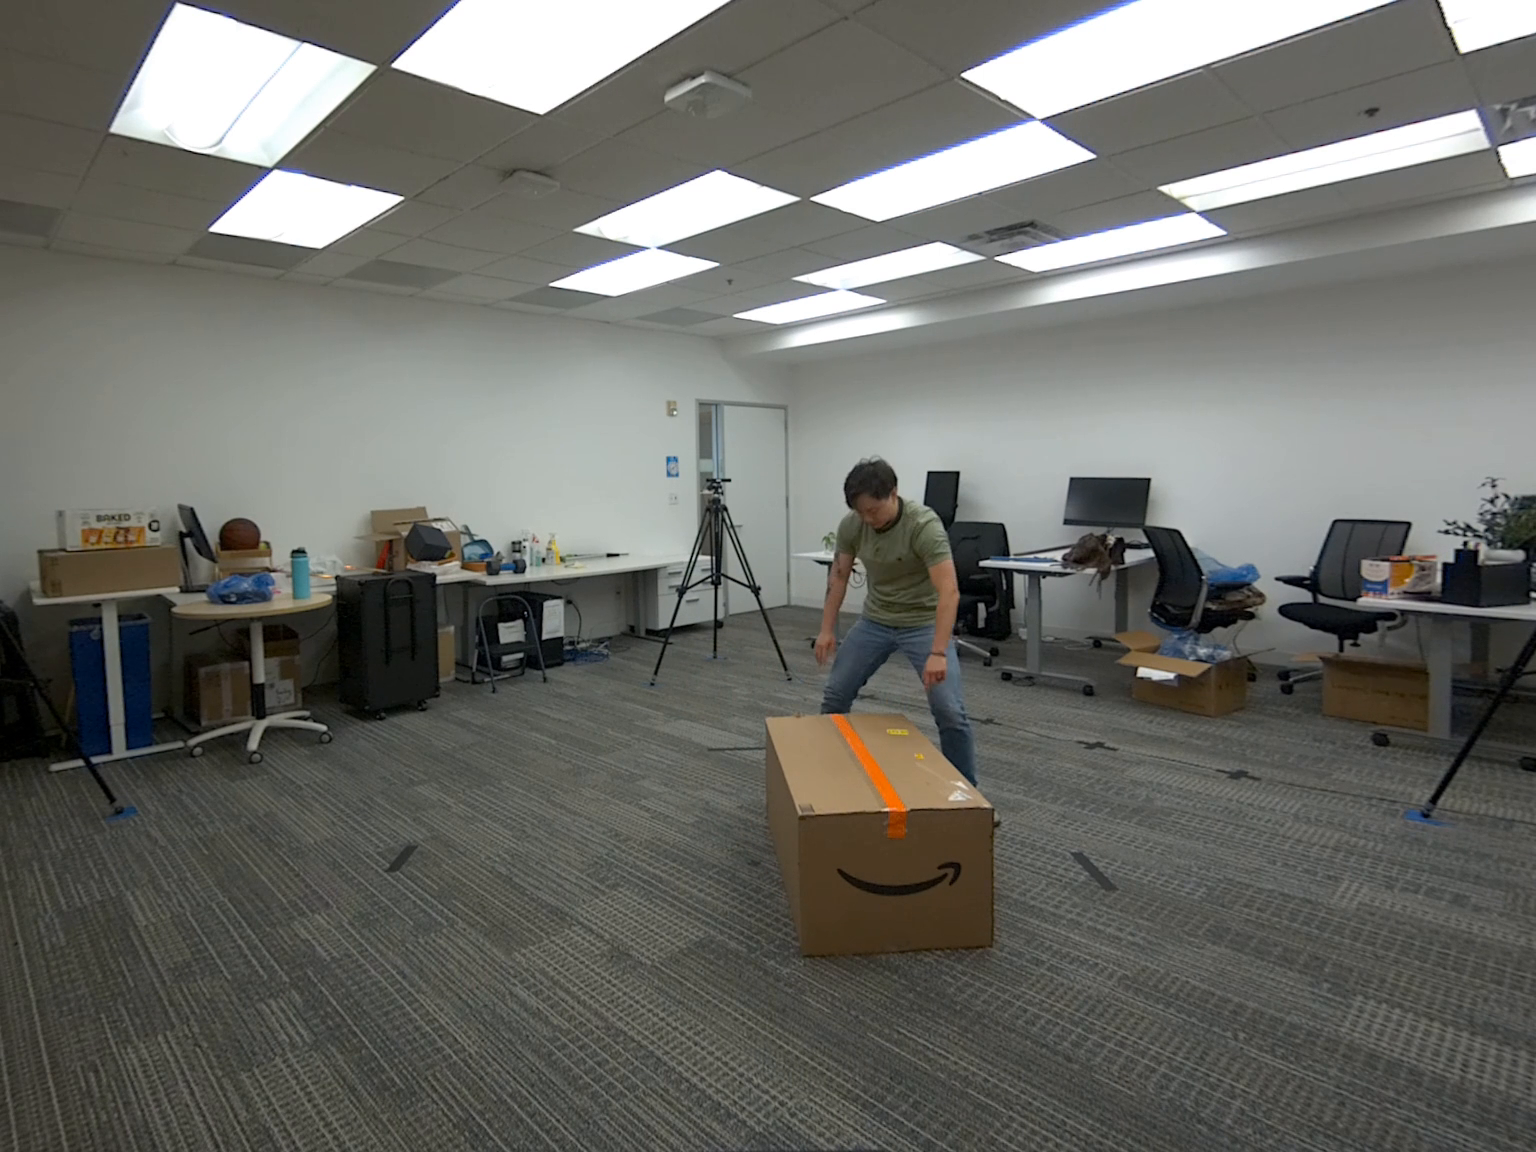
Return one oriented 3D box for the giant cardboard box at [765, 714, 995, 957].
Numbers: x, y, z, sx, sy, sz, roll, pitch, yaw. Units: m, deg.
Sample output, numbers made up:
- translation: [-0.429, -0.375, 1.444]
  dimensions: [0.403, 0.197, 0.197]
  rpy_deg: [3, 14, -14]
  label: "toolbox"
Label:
- translation: [0.327, 0.835, 2.998]
  dimensions: [0.575, 0.424, 1.035]
  rpy_deg: [-1, 6, -5]
  label: "giant cardboard box"
